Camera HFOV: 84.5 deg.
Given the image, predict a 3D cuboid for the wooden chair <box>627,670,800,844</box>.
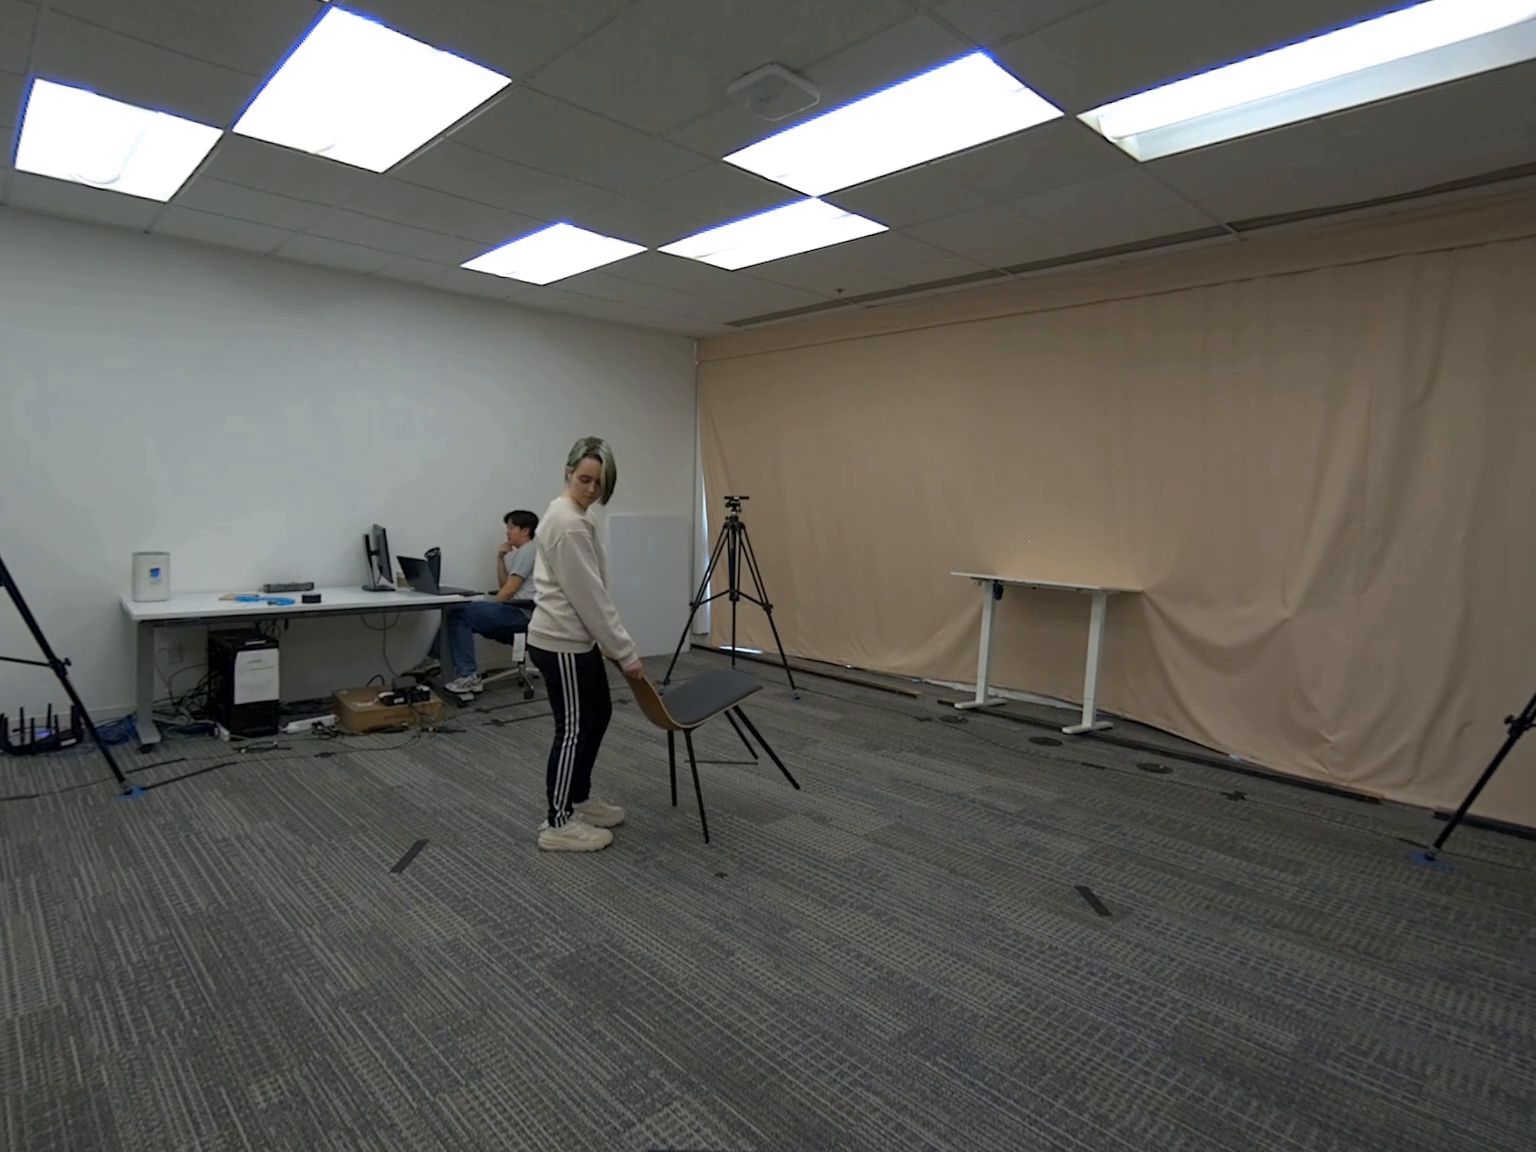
[{"bbox_3d":[-0.293,0.571,3.575,0.520,0.866,0.487,-30,13,-19],"label":"wooden chair"}]
